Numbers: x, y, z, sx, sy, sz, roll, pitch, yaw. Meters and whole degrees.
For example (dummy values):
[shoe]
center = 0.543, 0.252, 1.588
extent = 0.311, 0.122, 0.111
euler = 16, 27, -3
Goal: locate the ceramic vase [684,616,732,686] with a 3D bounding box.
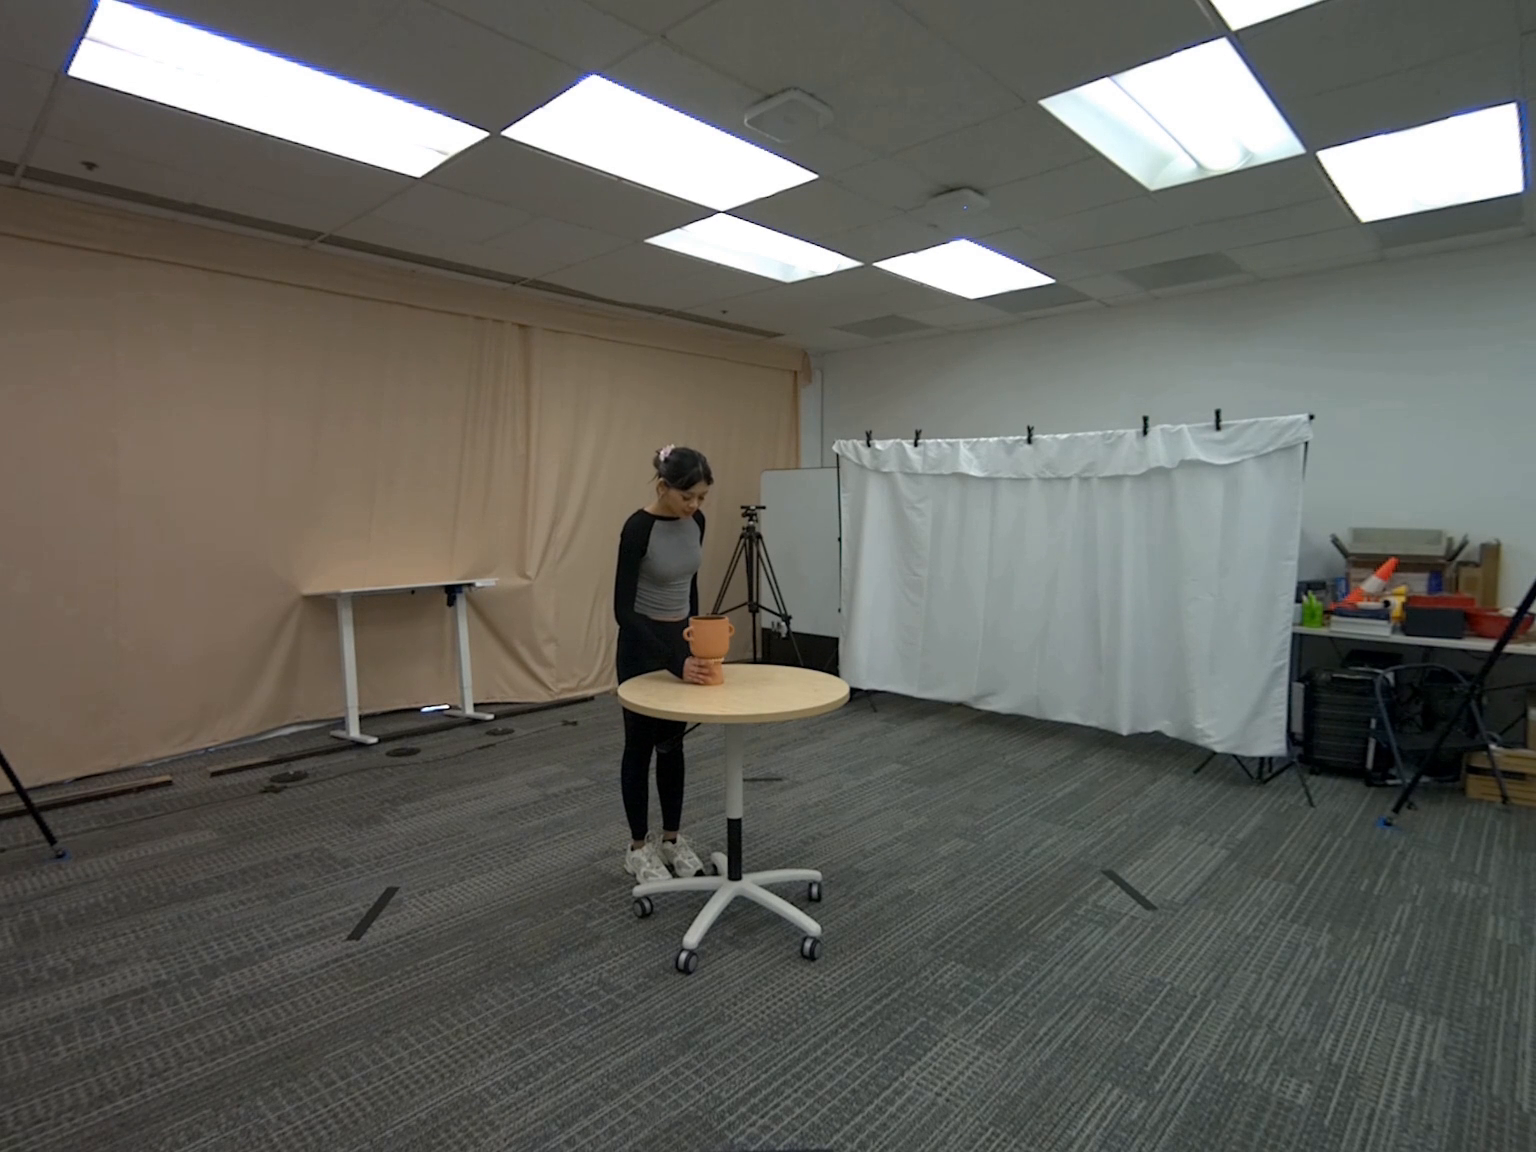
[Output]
[ceramic vase]
center = -0.200, 0.253, 2.856
extent = 0.160, 0.219, 0.134
euler = 0, 4, 7
